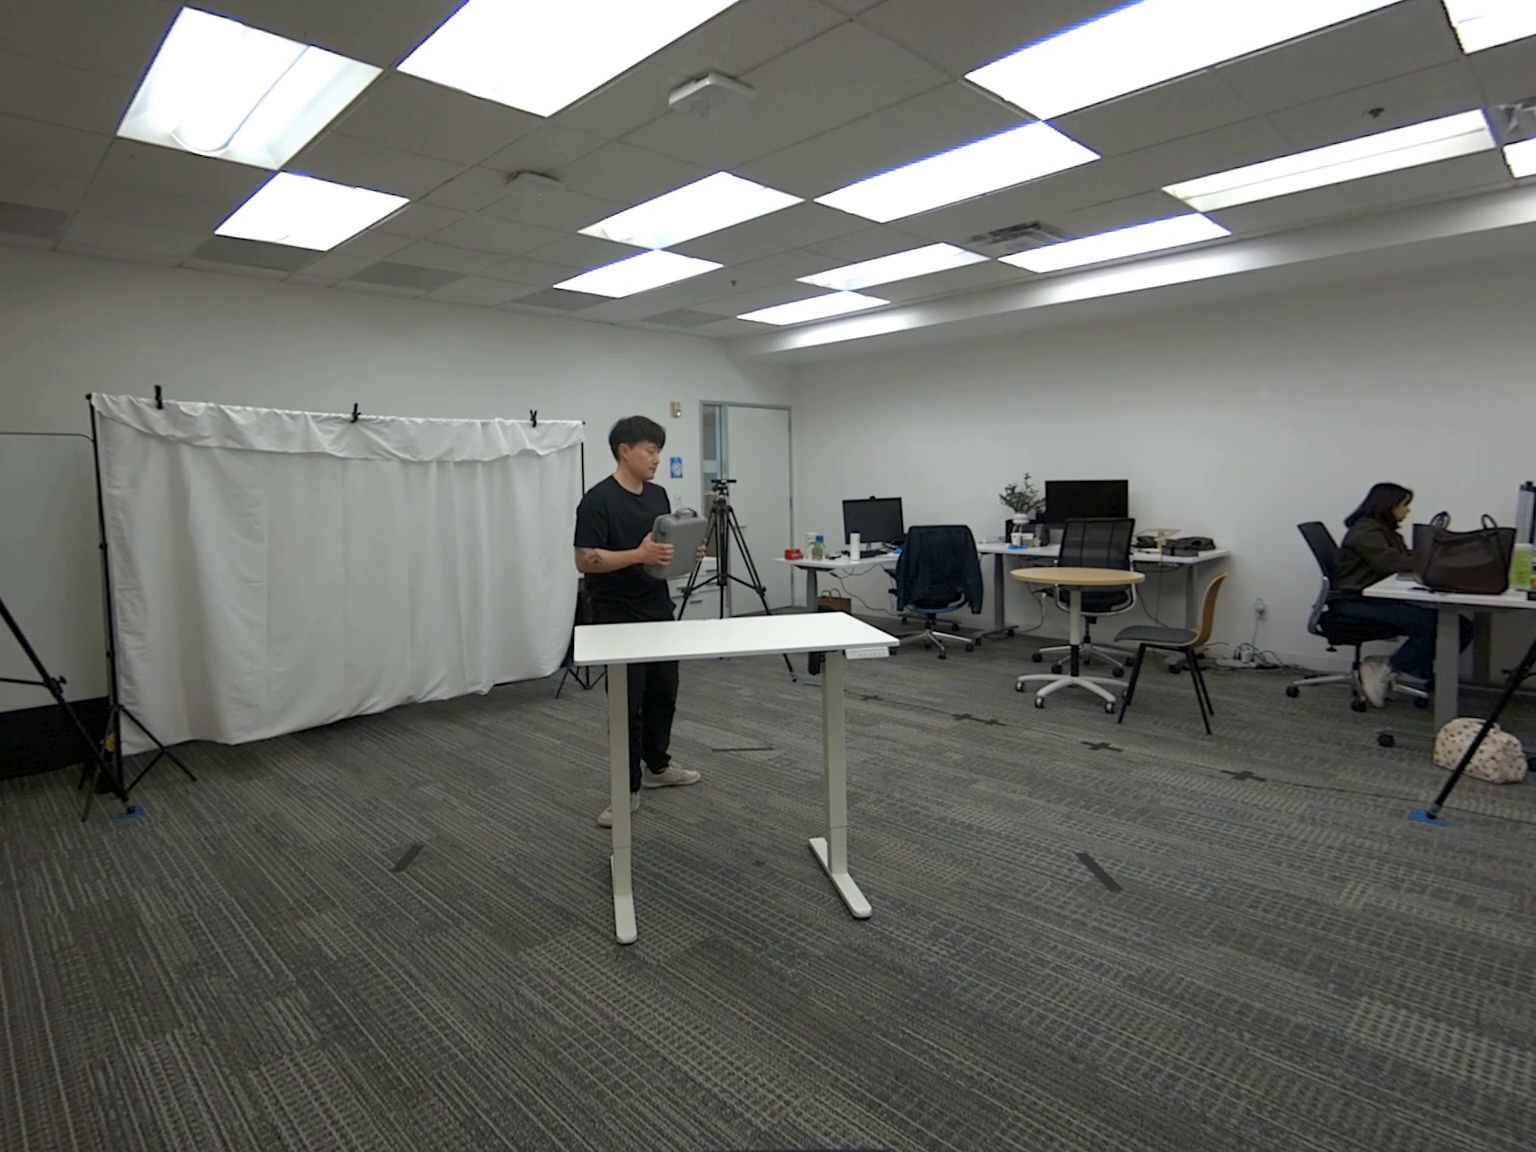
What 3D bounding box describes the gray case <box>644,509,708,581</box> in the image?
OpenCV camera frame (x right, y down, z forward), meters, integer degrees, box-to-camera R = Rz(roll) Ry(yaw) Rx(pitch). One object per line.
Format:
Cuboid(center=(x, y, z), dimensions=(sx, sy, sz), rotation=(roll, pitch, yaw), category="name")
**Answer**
Cuboid(center=(-0.374, -0.128, 3.470), dimensions=(0.107, 0.258, 0.252), rotation=(24, 21, 26), category="gray case")
